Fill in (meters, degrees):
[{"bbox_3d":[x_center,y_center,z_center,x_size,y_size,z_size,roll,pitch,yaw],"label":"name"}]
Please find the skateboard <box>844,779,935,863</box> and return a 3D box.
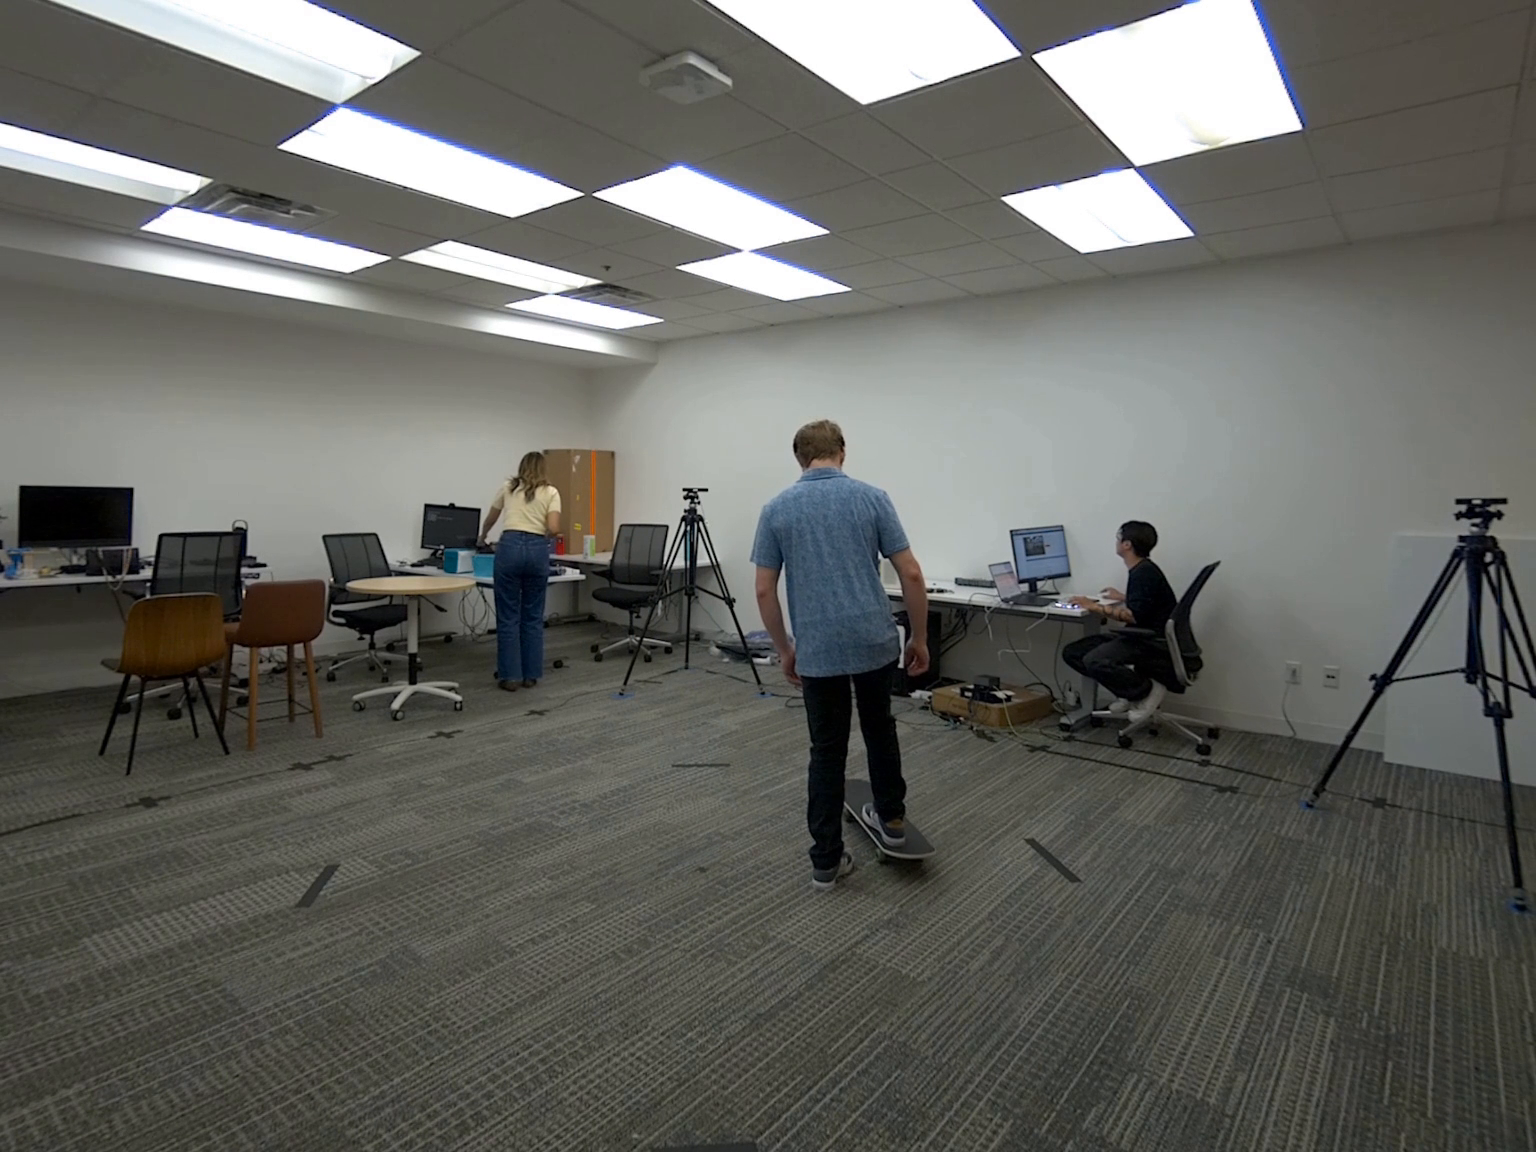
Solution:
[{"bbox_3d":[0.445,0.997,3.414,0.191,0.110,0.797,-1,6,-11],"label":"skateboard"}]
